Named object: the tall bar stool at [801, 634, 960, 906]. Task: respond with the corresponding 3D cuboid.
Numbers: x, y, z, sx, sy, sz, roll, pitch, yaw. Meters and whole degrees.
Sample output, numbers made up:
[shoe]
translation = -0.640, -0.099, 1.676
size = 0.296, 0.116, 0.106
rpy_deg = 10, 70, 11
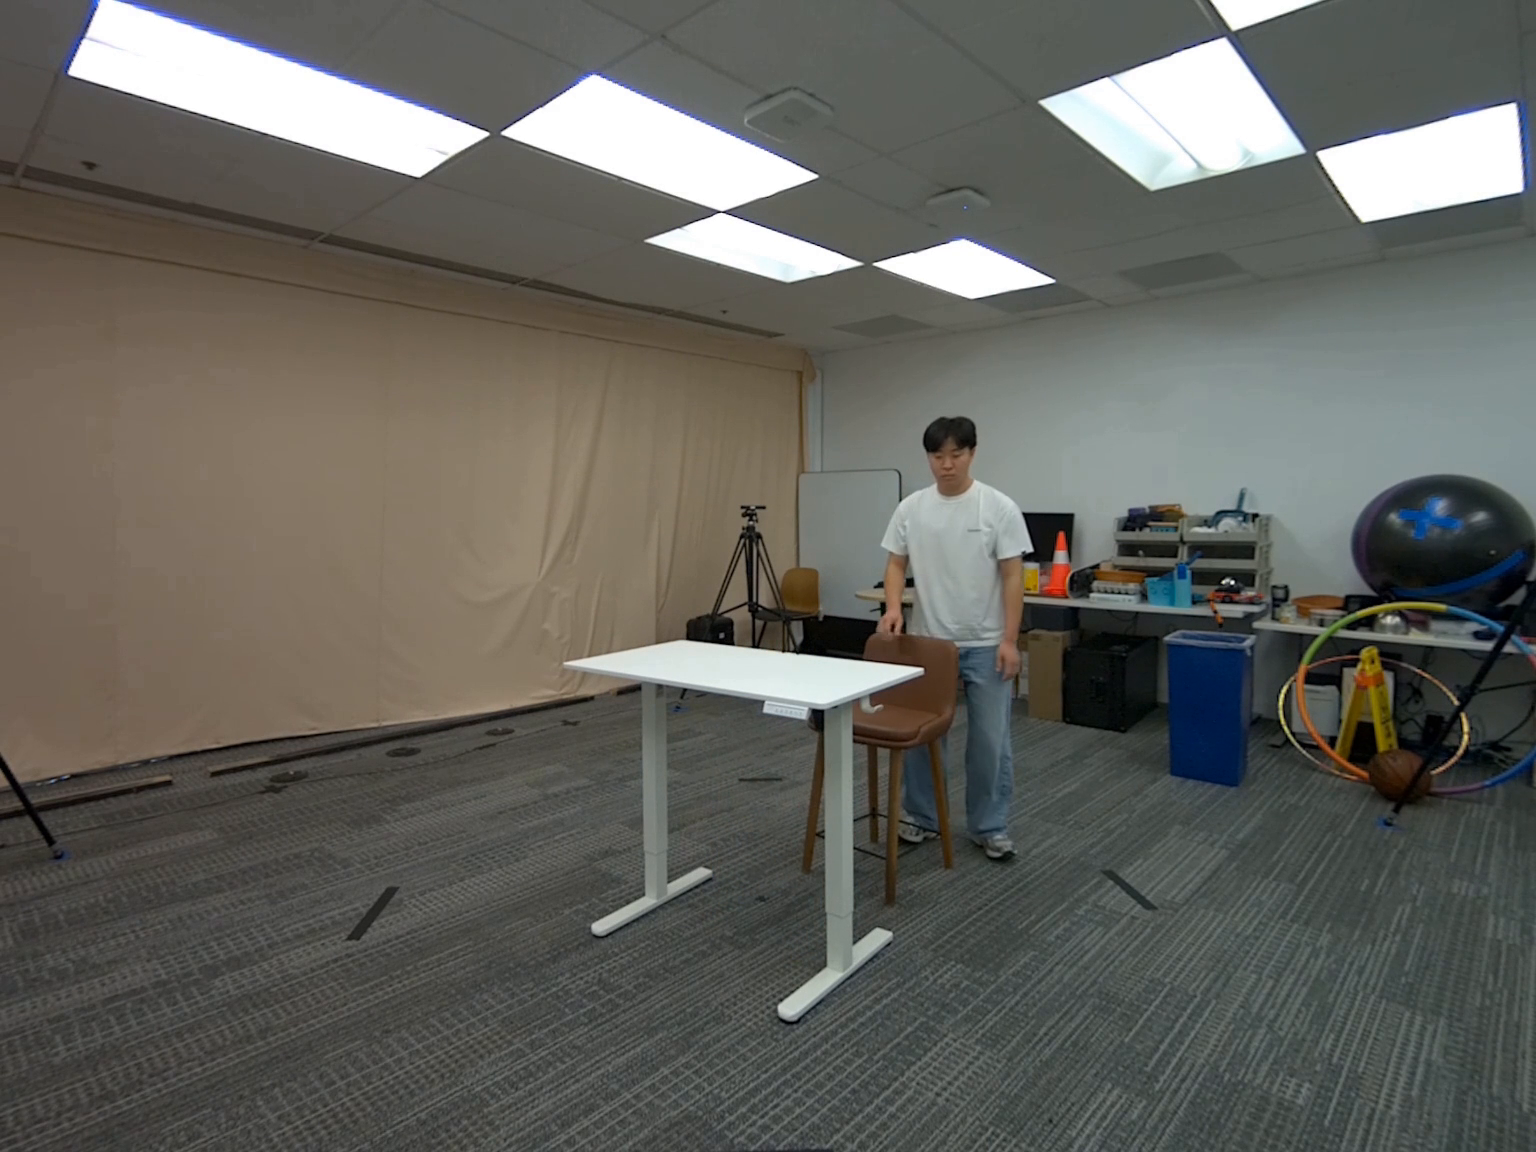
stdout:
[tall bar stool]
translation = 0.433, 0.684, 3.189
size = 0.472, 0.889, 0.453
rpy_deg = 3, 3, 44
